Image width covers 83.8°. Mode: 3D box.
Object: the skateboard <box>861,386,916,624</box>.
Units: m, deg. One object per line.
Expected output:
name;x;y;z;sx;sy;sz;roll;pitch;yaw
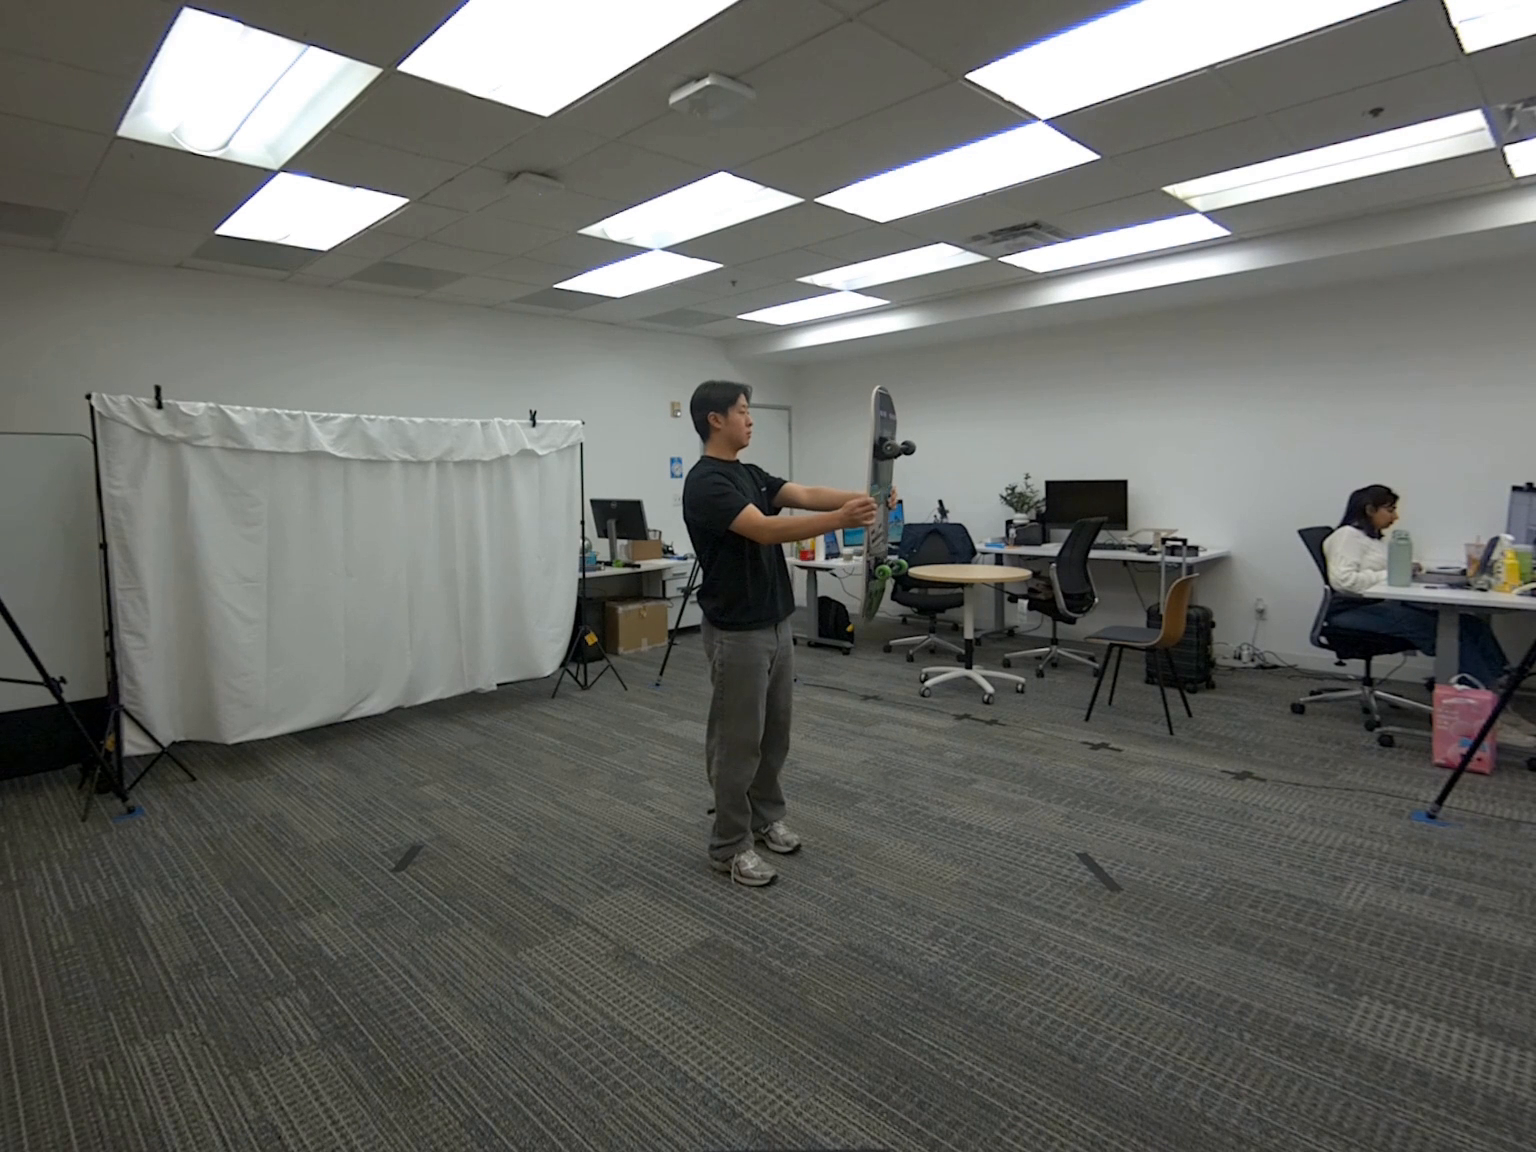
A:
skateboard;0.388;-0.217;2.796;0.113;0.779;0.189;8;11;31
